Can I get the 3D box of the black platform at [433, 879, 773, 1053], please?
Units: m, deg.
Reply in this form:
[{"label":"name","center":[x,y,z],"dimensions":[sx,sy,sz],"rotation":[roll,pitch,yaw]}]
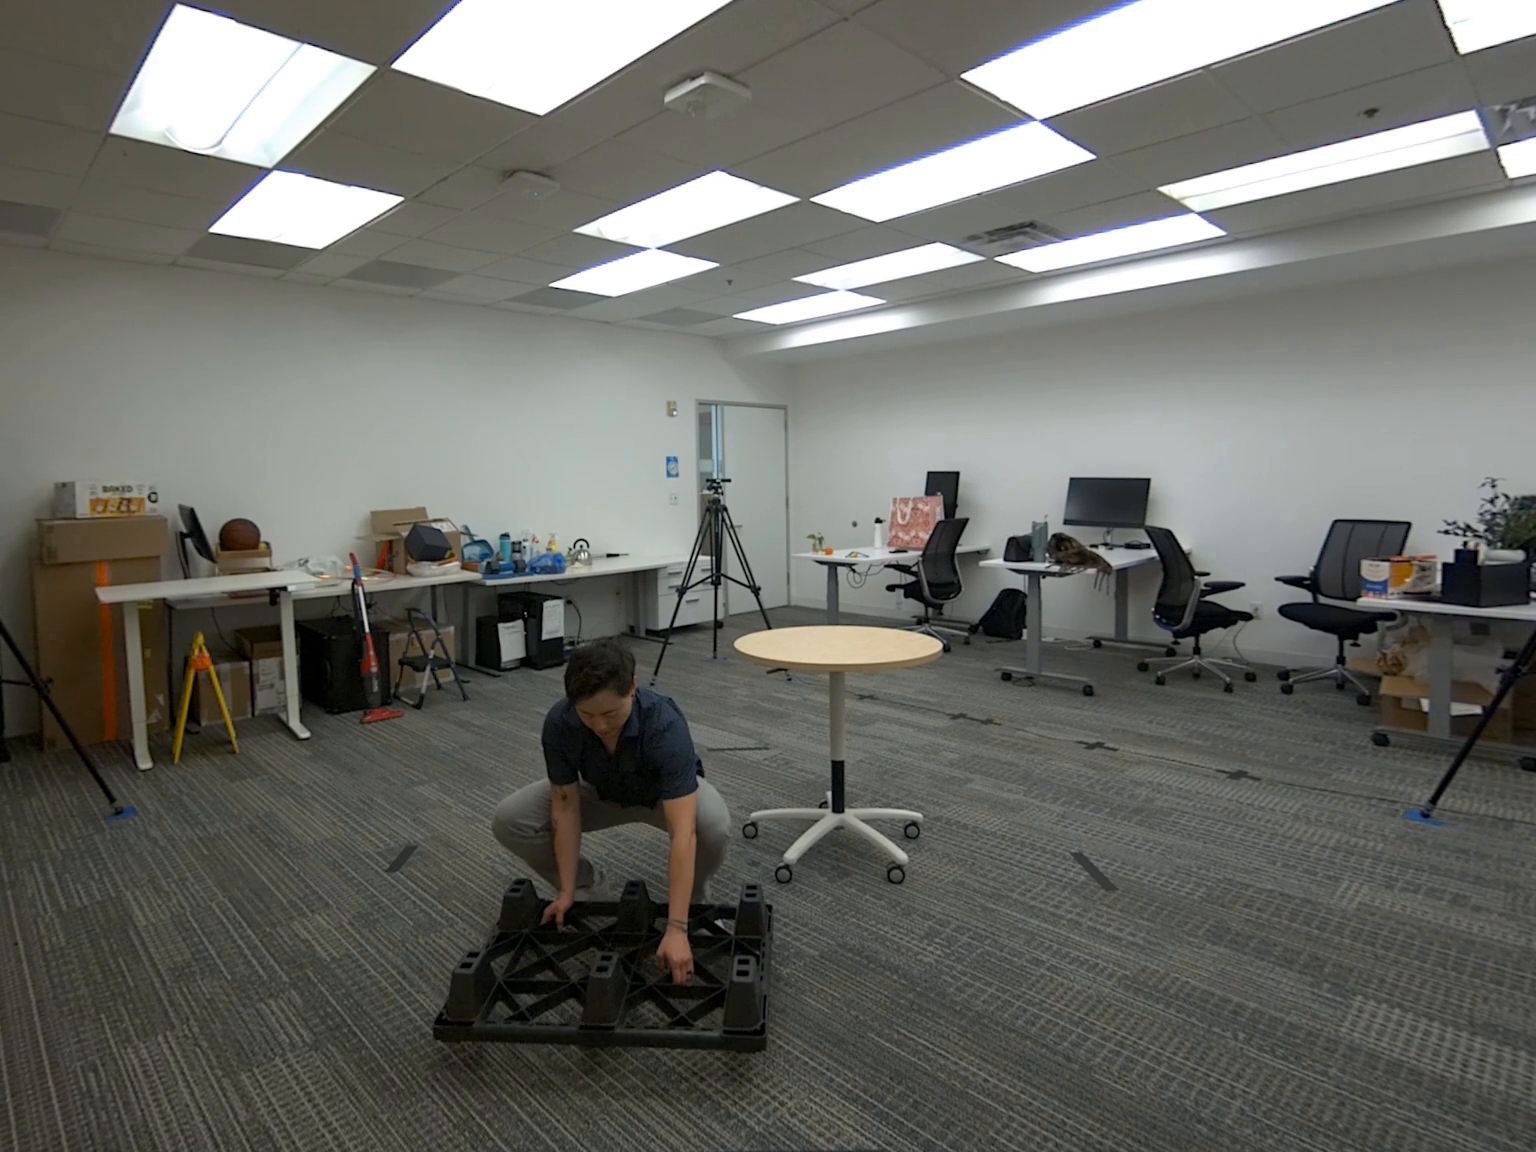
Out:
[{"label":"black platform","center":[-0.395,0.995,2.268],"dimensions":[0.809,0.142,0.606],"rotation":[-2,7,4]}]
